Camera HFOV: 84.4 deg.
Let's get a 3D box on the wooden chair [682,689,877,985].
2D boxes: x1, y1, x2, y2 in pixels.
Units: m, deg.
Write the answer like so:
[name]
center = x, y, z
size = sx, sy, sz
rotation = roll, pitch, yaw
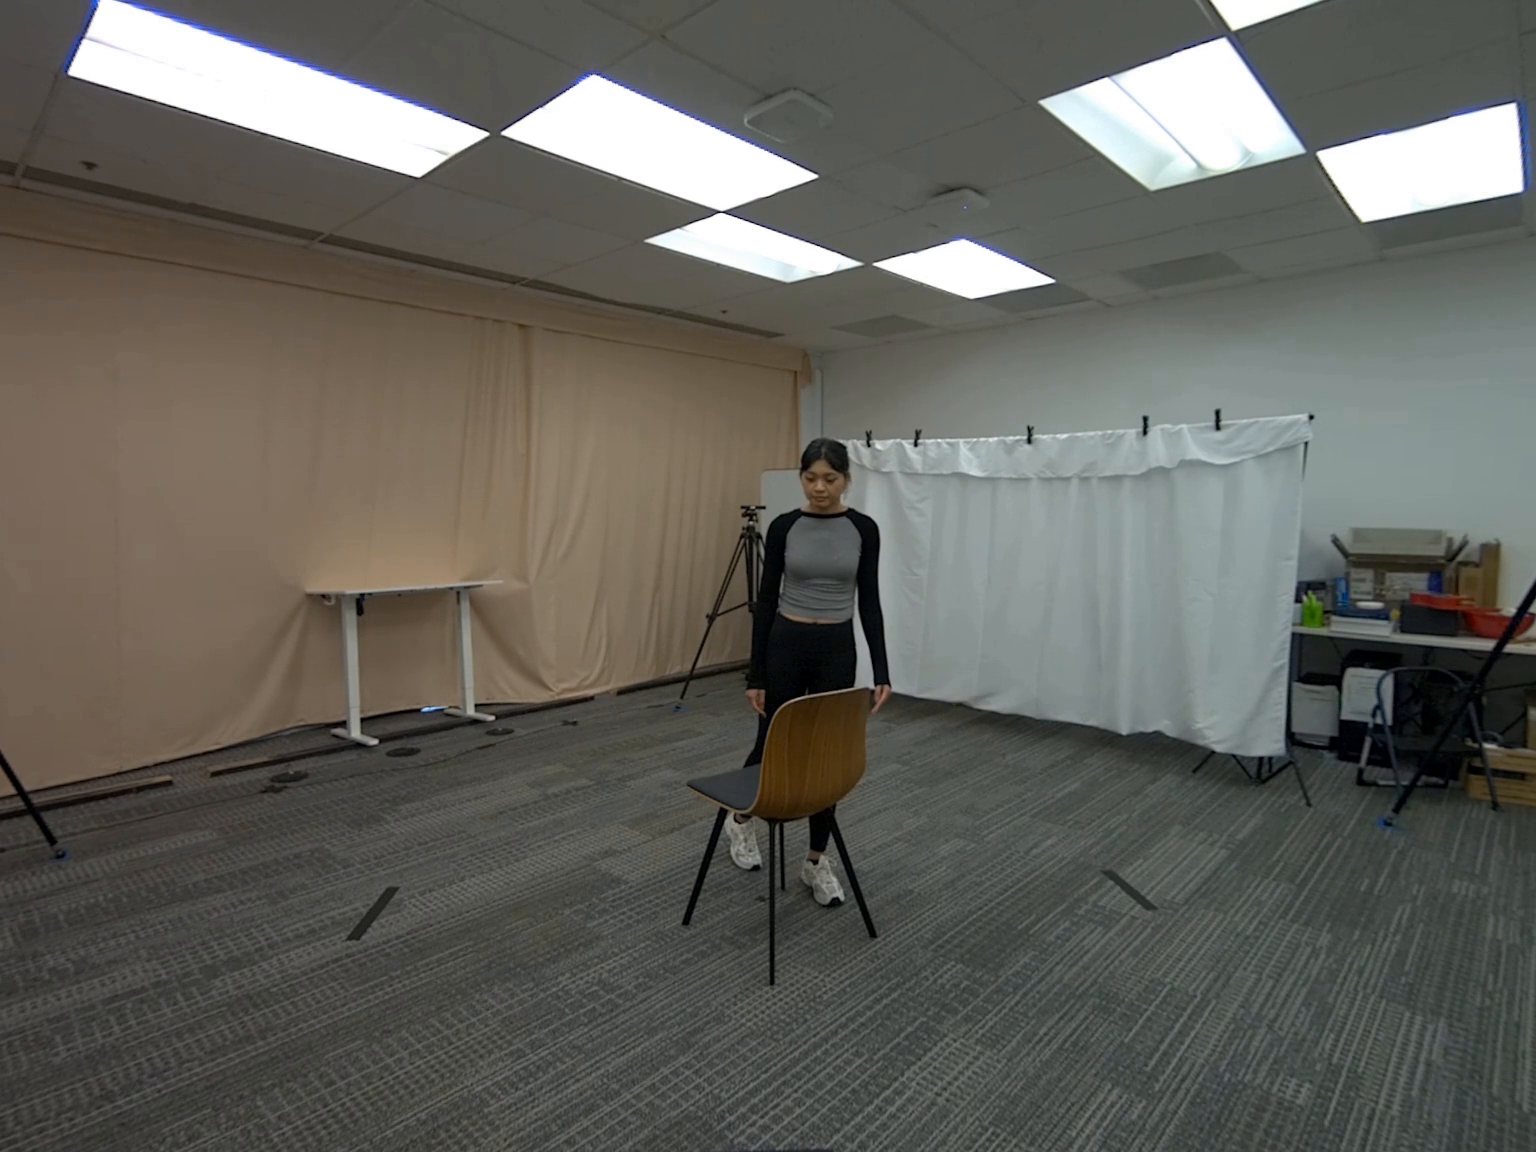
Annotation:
[wooden chair]
center = 0.028, 0.735, 2.731
size = 0.464, 0.874, 0.541
rotation = -3, 9, -39
